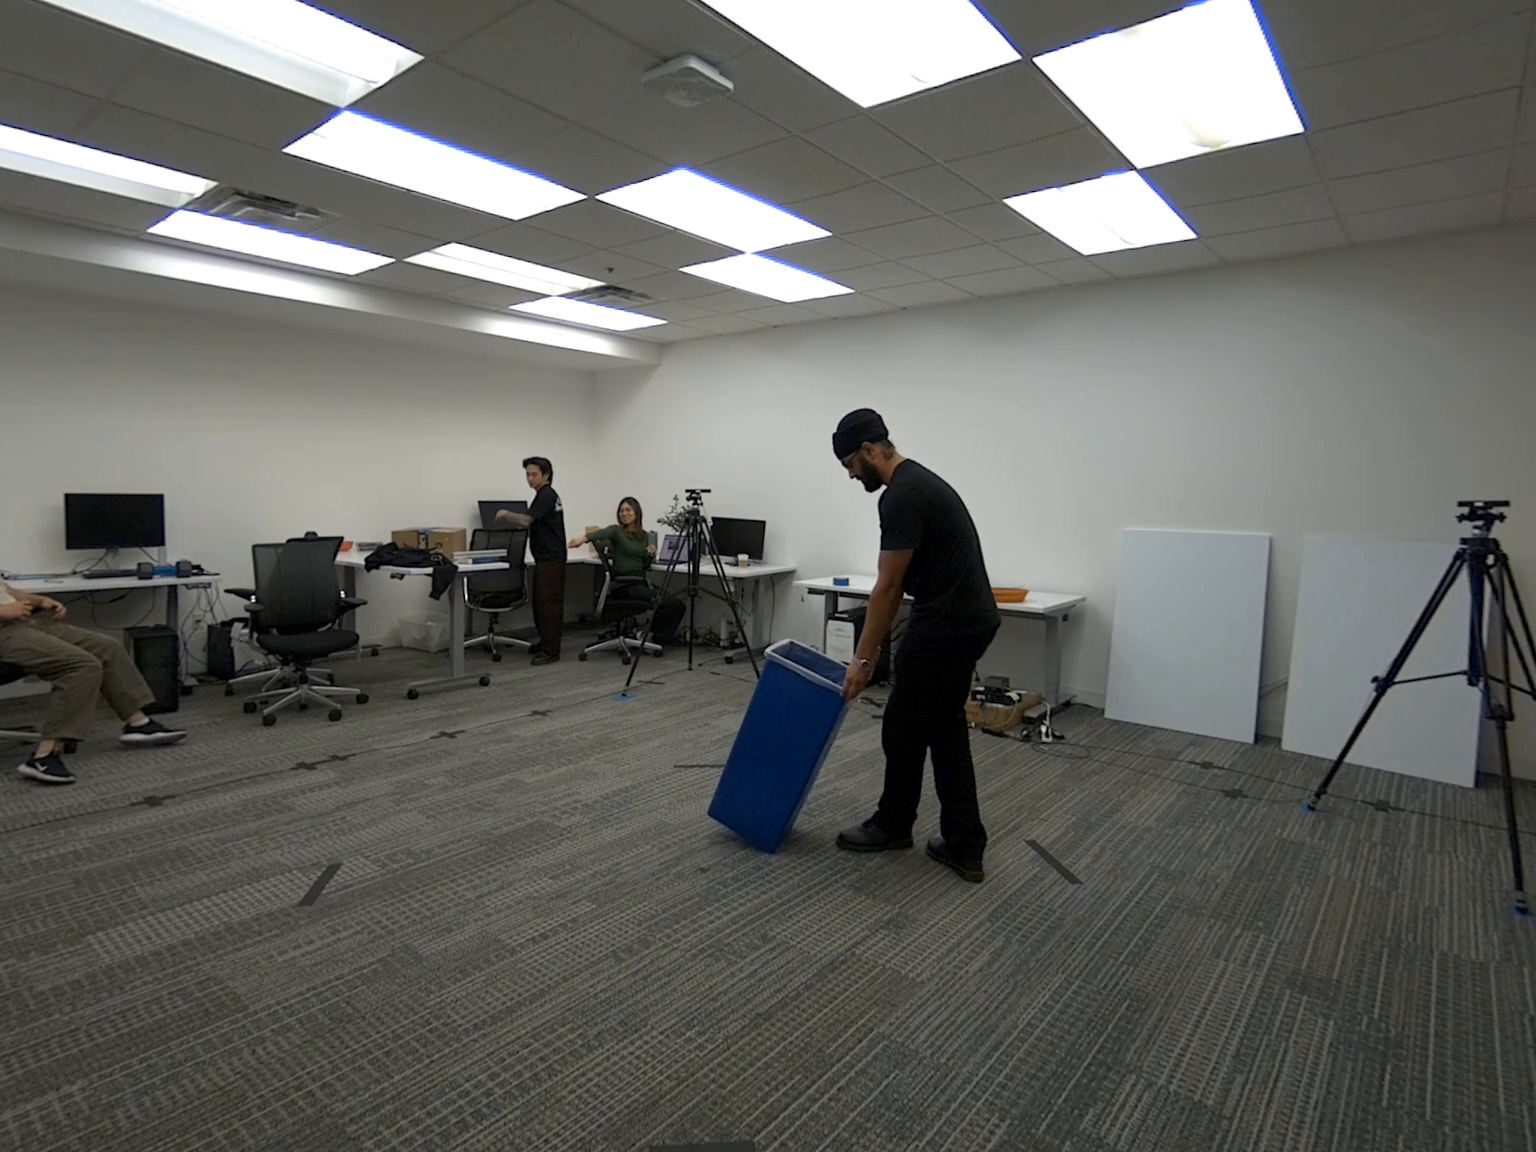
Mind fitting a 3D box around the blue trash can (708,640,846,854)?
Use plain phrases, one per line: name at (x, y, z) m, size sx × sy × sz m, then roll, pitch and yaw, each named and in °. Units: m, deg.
blue trash can at (0.063, 0.668, 3.391) m, size 0.382 × 0.710 × 0.372 m, roll 24°, pitch 9°, yaw 15°
